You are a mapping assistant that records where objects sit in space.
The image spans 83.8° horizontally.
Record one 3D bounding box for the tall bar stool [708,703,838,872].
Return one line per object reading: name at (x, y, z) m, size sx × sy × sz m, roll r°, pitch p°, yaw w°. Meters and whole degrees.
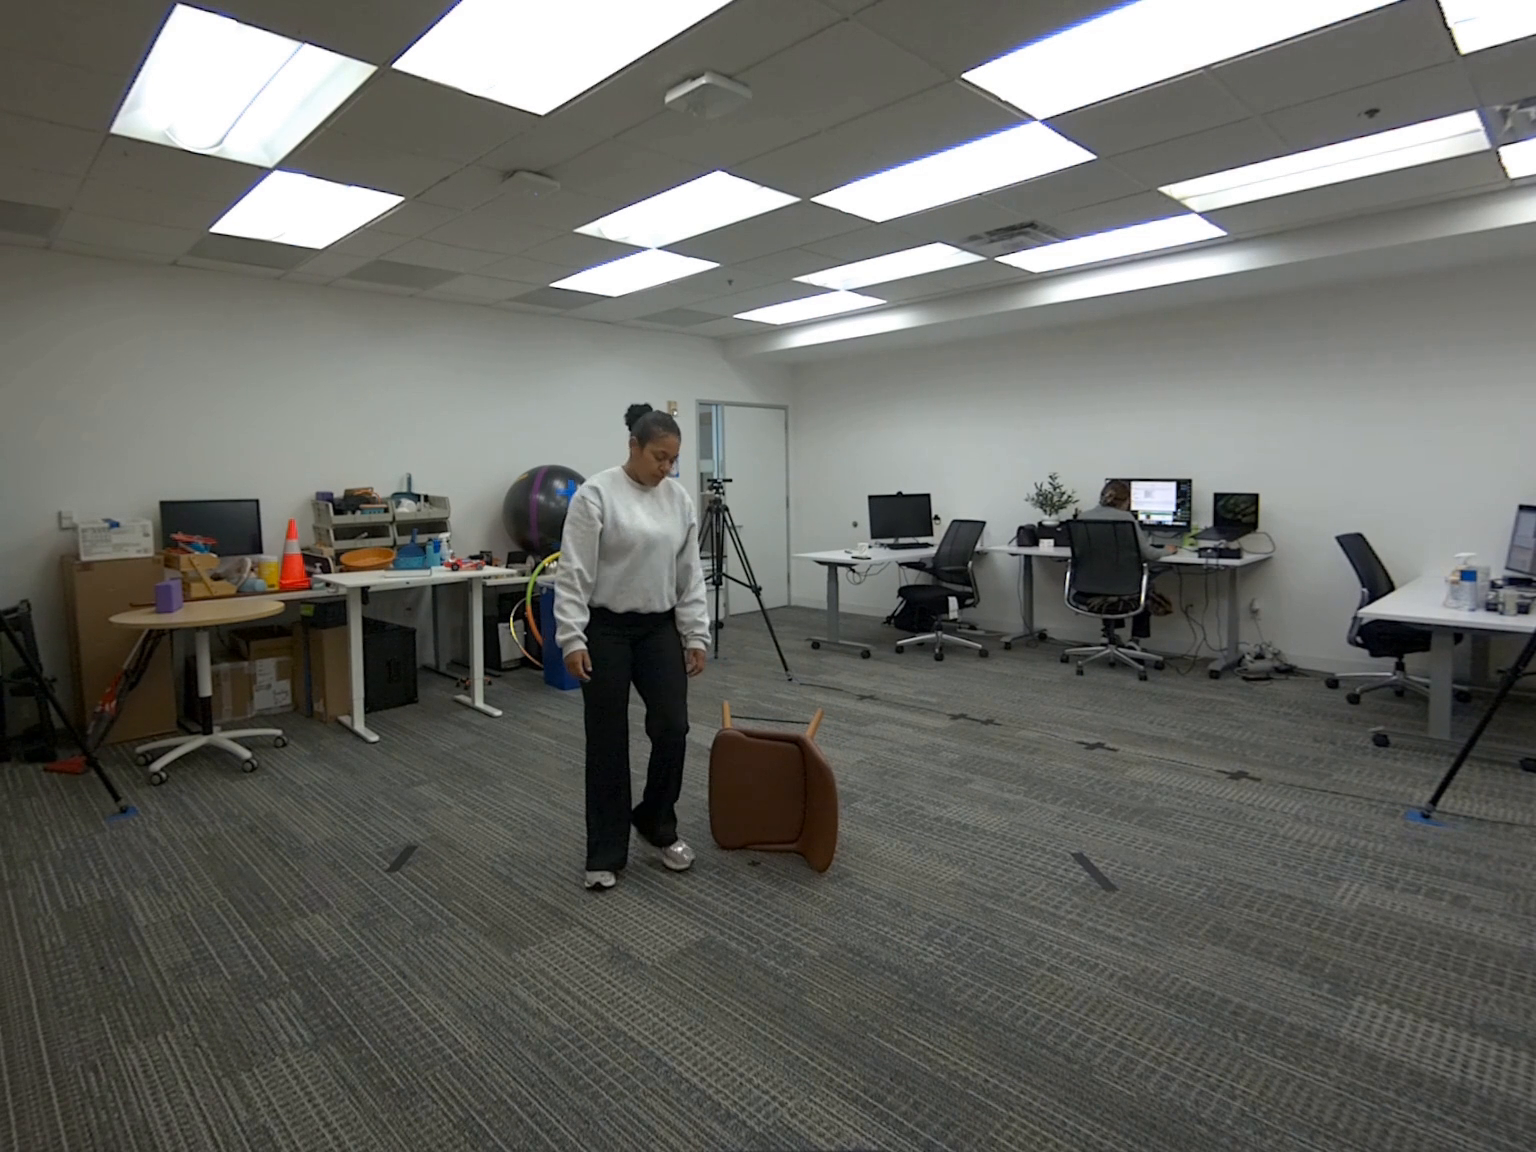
tall bar stool at (0.005, 0.800, 3.376) m, size 0.468 × 0.455 × 0.891 m, roll 1°, pitch 4°, yaw 1°
